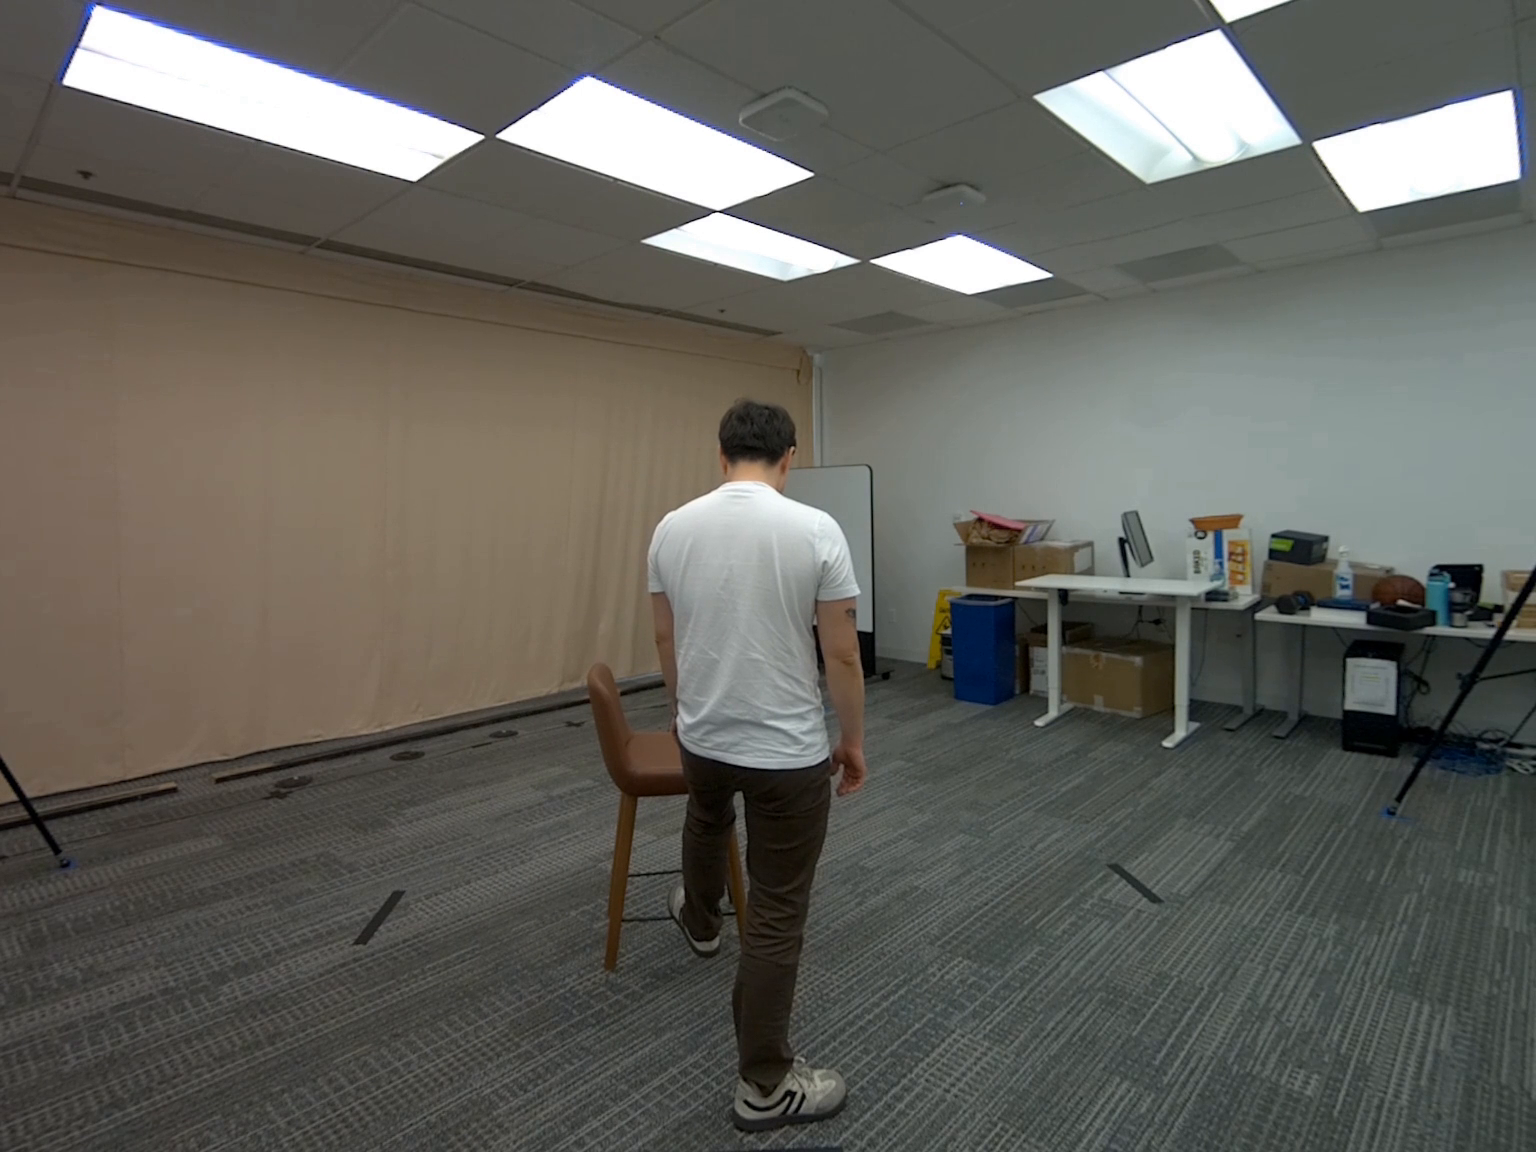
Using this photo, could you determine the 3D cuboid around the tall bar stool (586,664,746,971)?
[{"bbox_3d":[-0.313,0.733,2.716,0.464,0.888,0.461,-3,3,-7],"label":"tall bar stool"}]
